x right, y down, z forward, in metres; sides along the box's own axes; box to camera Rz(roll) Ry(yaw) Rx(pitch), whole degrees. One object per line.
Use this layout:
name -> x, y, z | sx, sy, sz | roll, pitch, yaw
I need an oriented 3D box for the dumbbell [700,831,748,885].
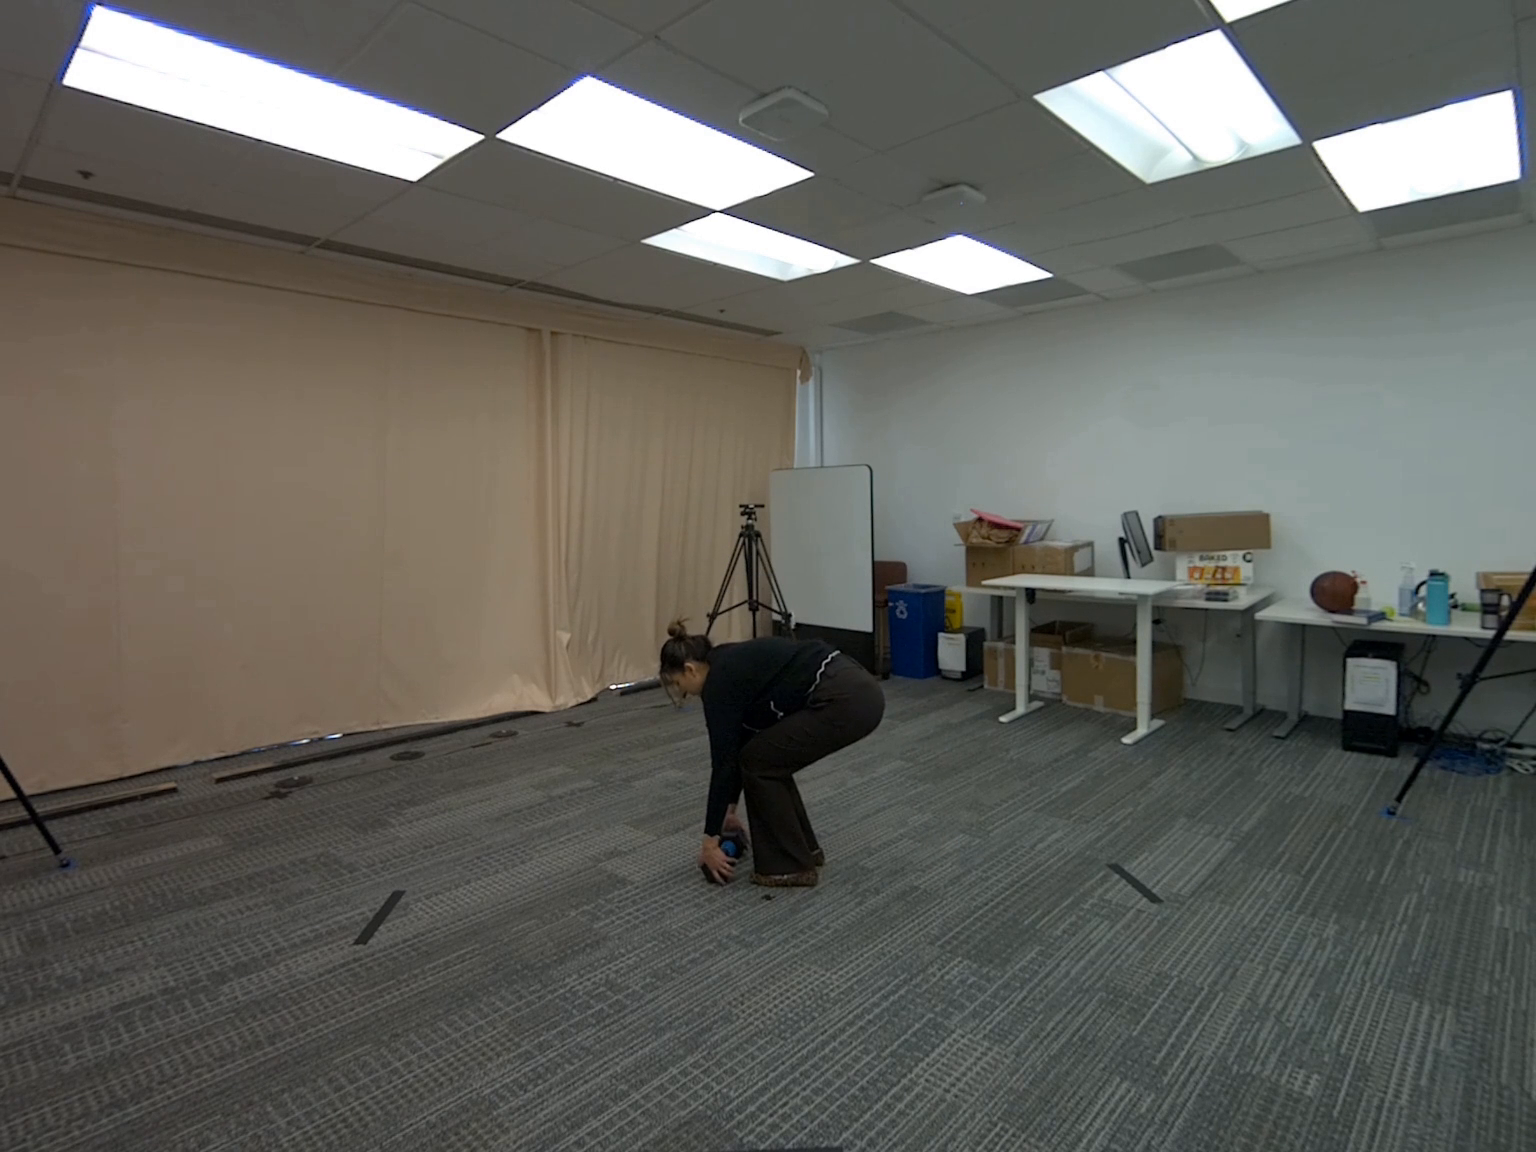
dumbbell -> -0.156, 1.067, 3.233 | 0.110, 0.123, 0.290 | 29, 12, 8
